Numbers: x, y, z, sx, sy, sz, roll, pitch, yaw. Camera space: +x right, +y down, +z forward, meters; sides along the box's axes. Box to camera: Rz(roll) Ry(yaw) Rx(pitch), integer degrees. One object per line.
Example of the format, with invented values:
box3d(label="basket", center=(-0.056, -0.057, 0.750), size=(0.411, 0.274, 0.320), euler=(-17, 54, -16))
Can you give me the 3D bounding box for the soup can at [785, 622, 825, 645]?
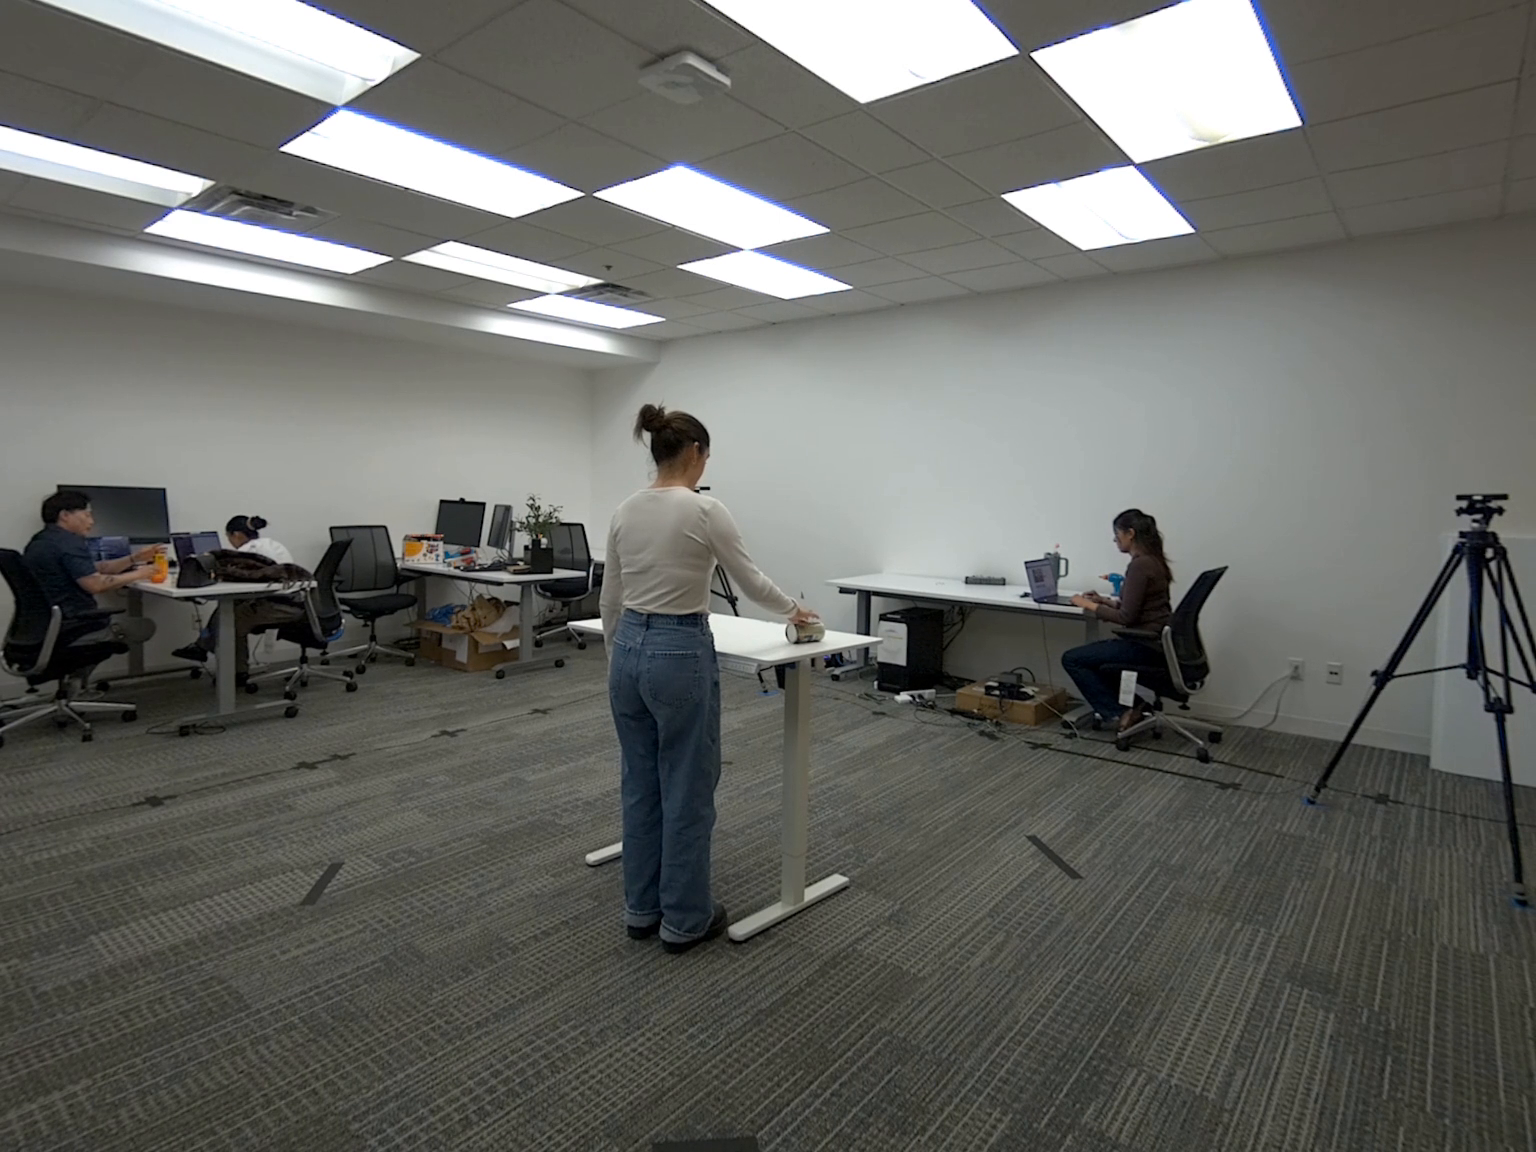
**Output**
box3d(label="soup can", center=(0.118, 0.181, 2.806), size=(0.118, 0.067, 0.069), euler=(0, 4, -30))
